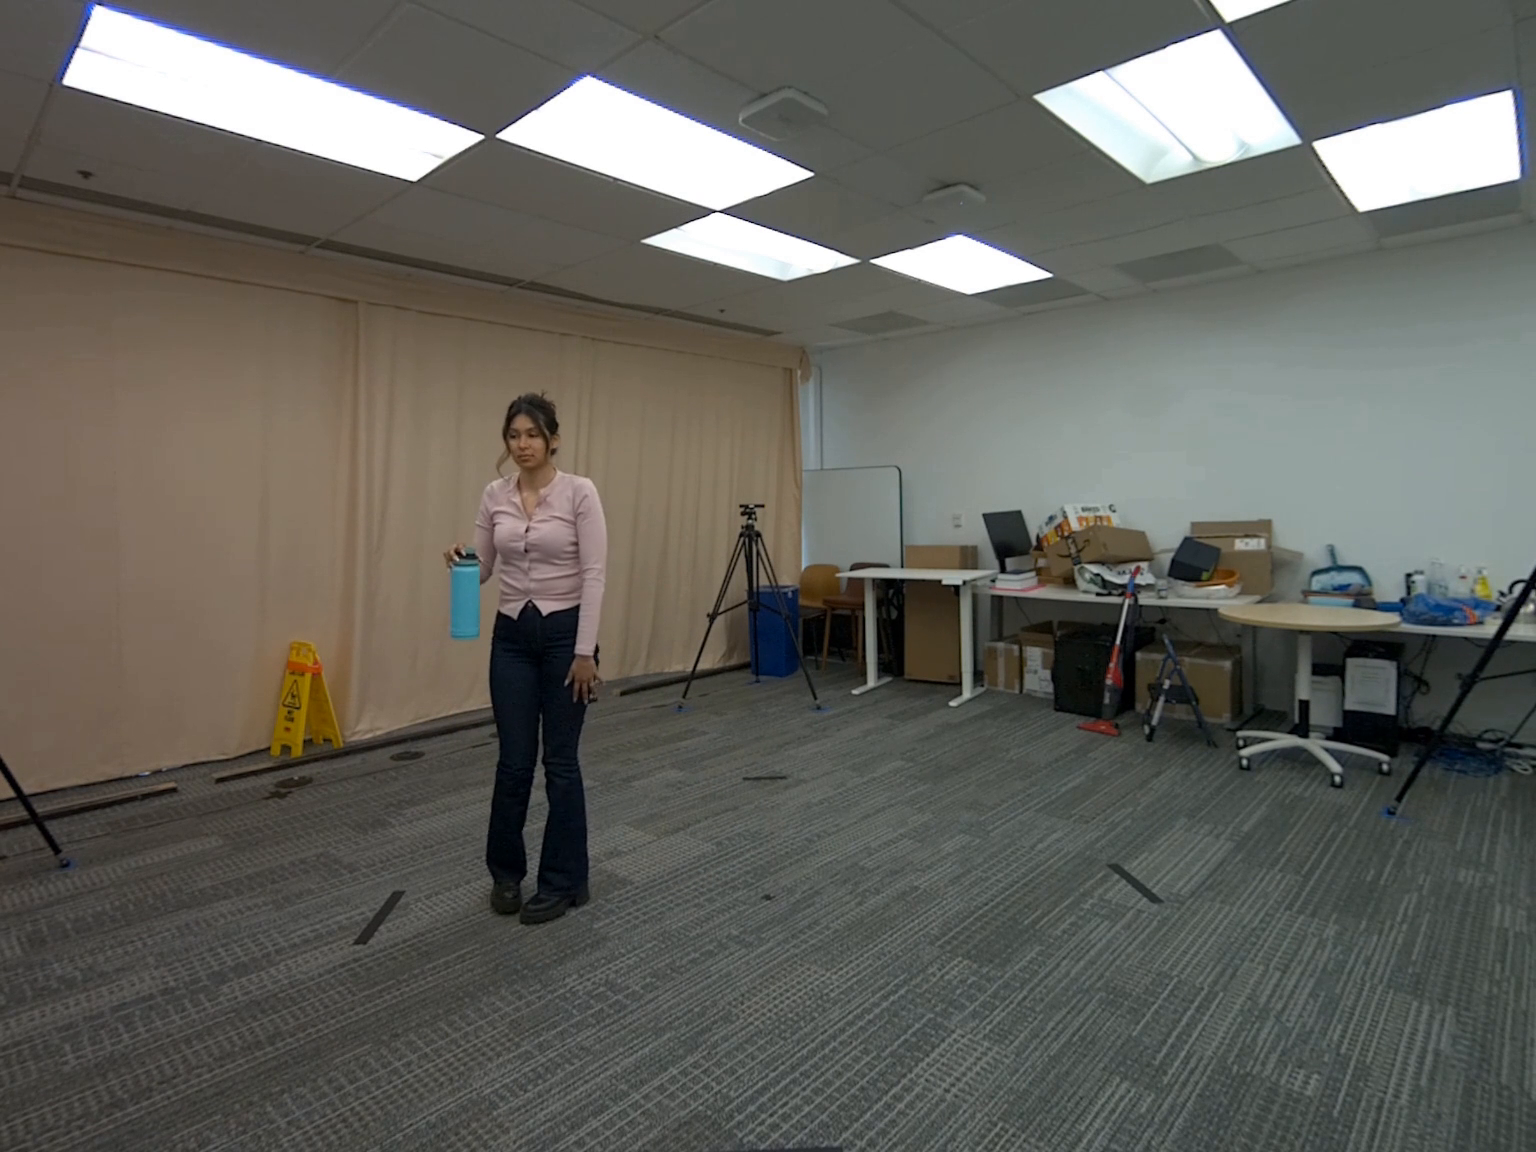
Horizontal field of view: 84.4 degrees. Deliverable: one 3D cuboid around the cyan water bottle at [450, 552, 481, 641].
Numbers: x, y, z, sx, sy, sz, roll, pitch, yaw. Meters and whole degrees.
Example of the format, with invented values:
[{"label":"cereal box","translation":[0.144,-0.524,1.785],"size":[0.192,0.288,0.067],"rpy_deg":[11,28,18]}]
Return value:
[{"label":"cyan water bottle","translation":[-0.945,0.052,2.629],"size":[0.092,0.282,0.093],"rpy_deg":[4,5,-2]}]
